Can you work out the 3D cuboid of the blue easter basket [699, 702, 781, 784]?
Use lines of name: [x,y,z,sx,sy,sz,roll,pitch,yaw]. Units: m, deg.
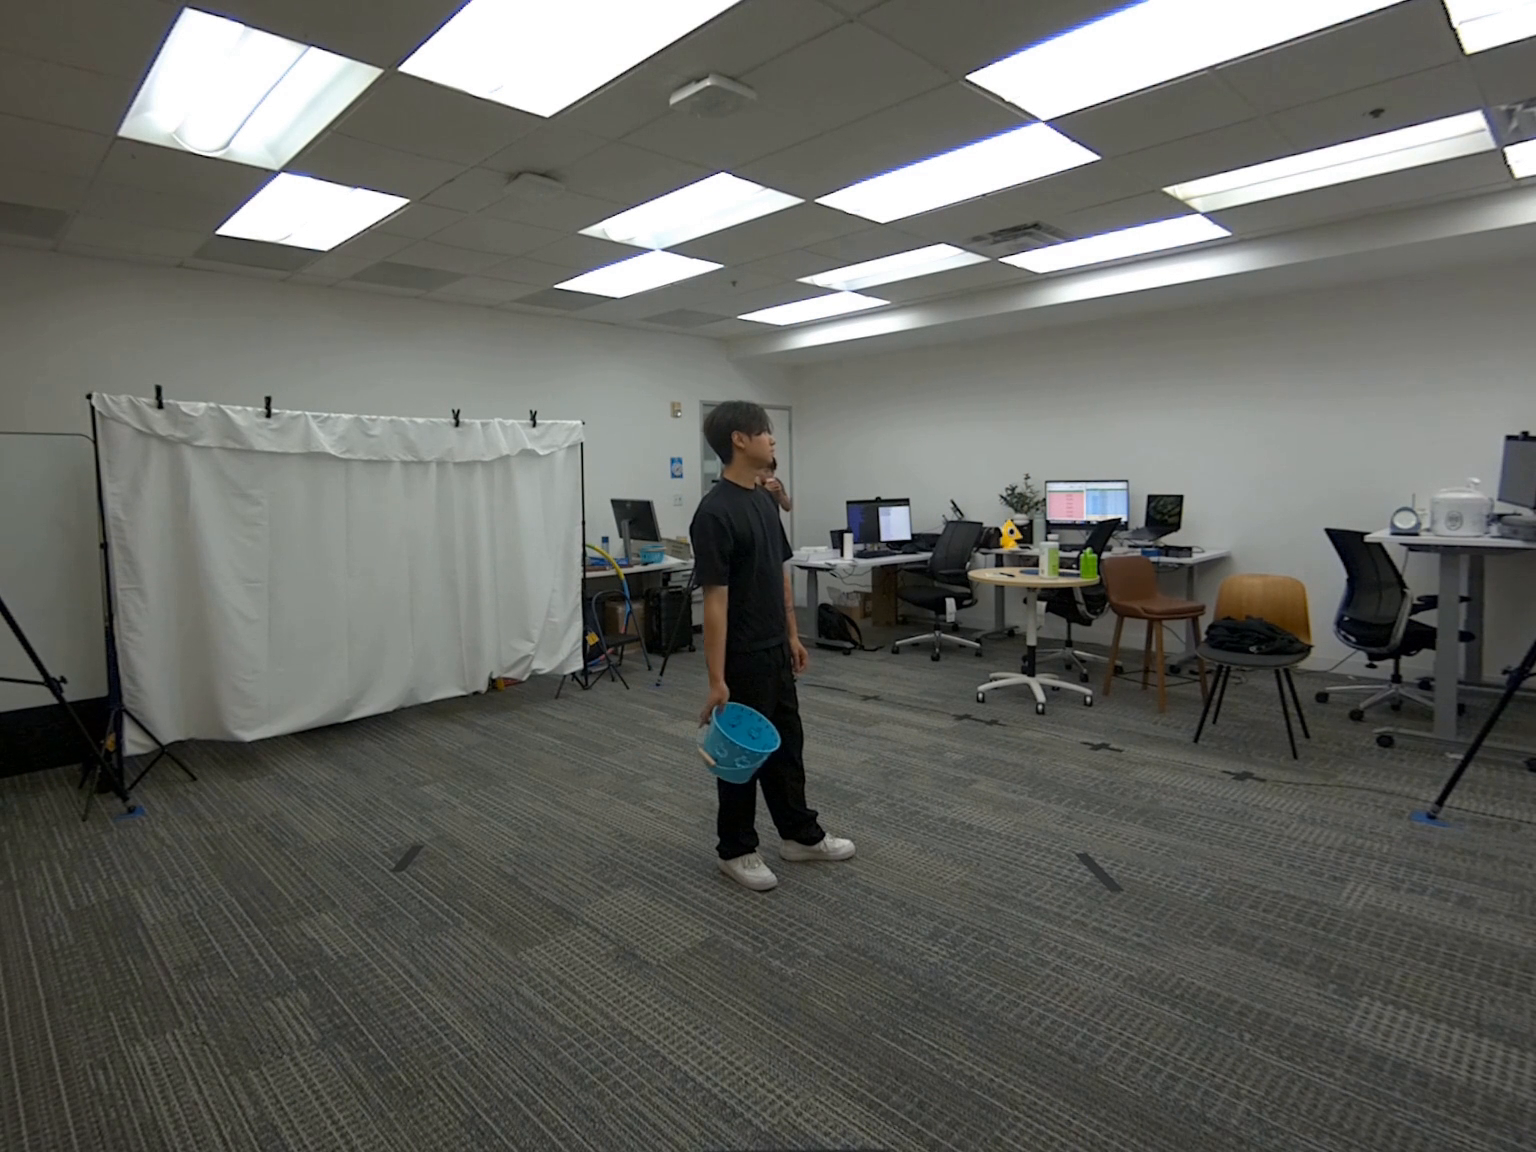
blue easter basket: [-0.101,0.524,2.690,0.240,0.155,0.248,24,19,-11]
